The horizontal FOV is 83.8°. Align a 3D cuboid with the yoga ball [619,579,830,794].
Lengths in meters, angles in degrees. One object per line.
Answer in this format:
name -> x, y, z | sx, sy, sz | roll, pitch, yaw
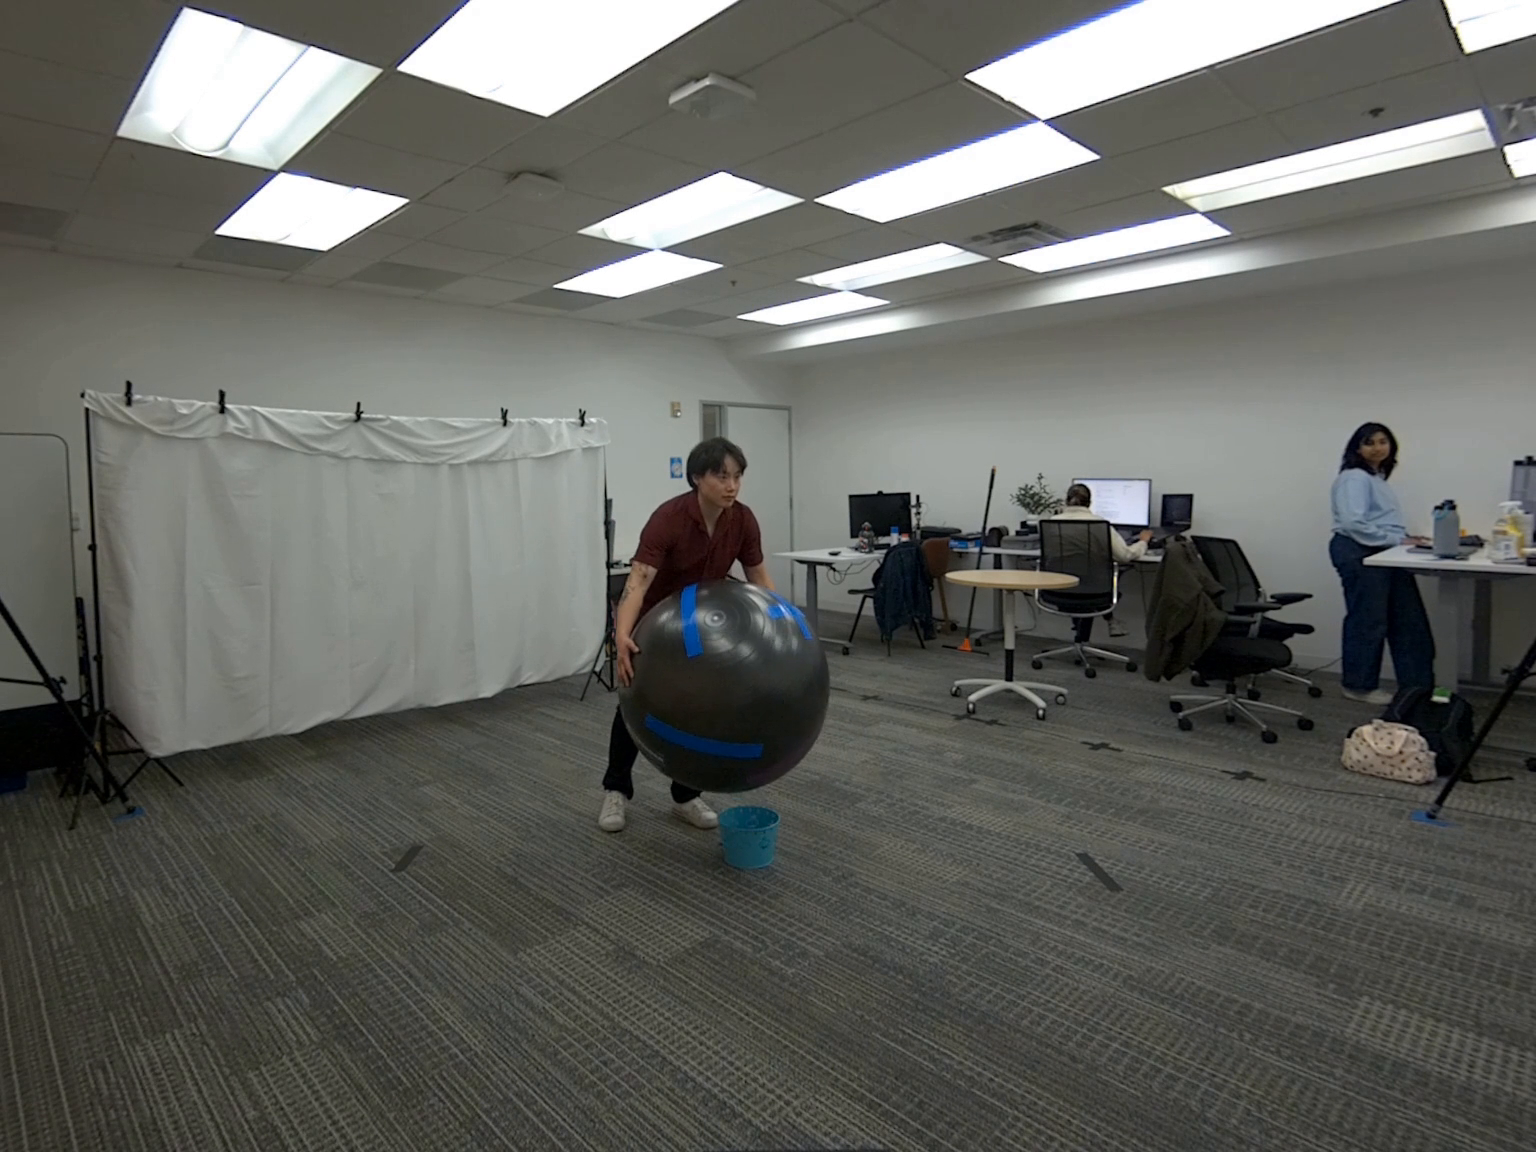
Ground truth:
yoga ball -> -0.162, 0.388, 3.087 | 0.757, 0.755, 0.762 | -1, 5, -2
